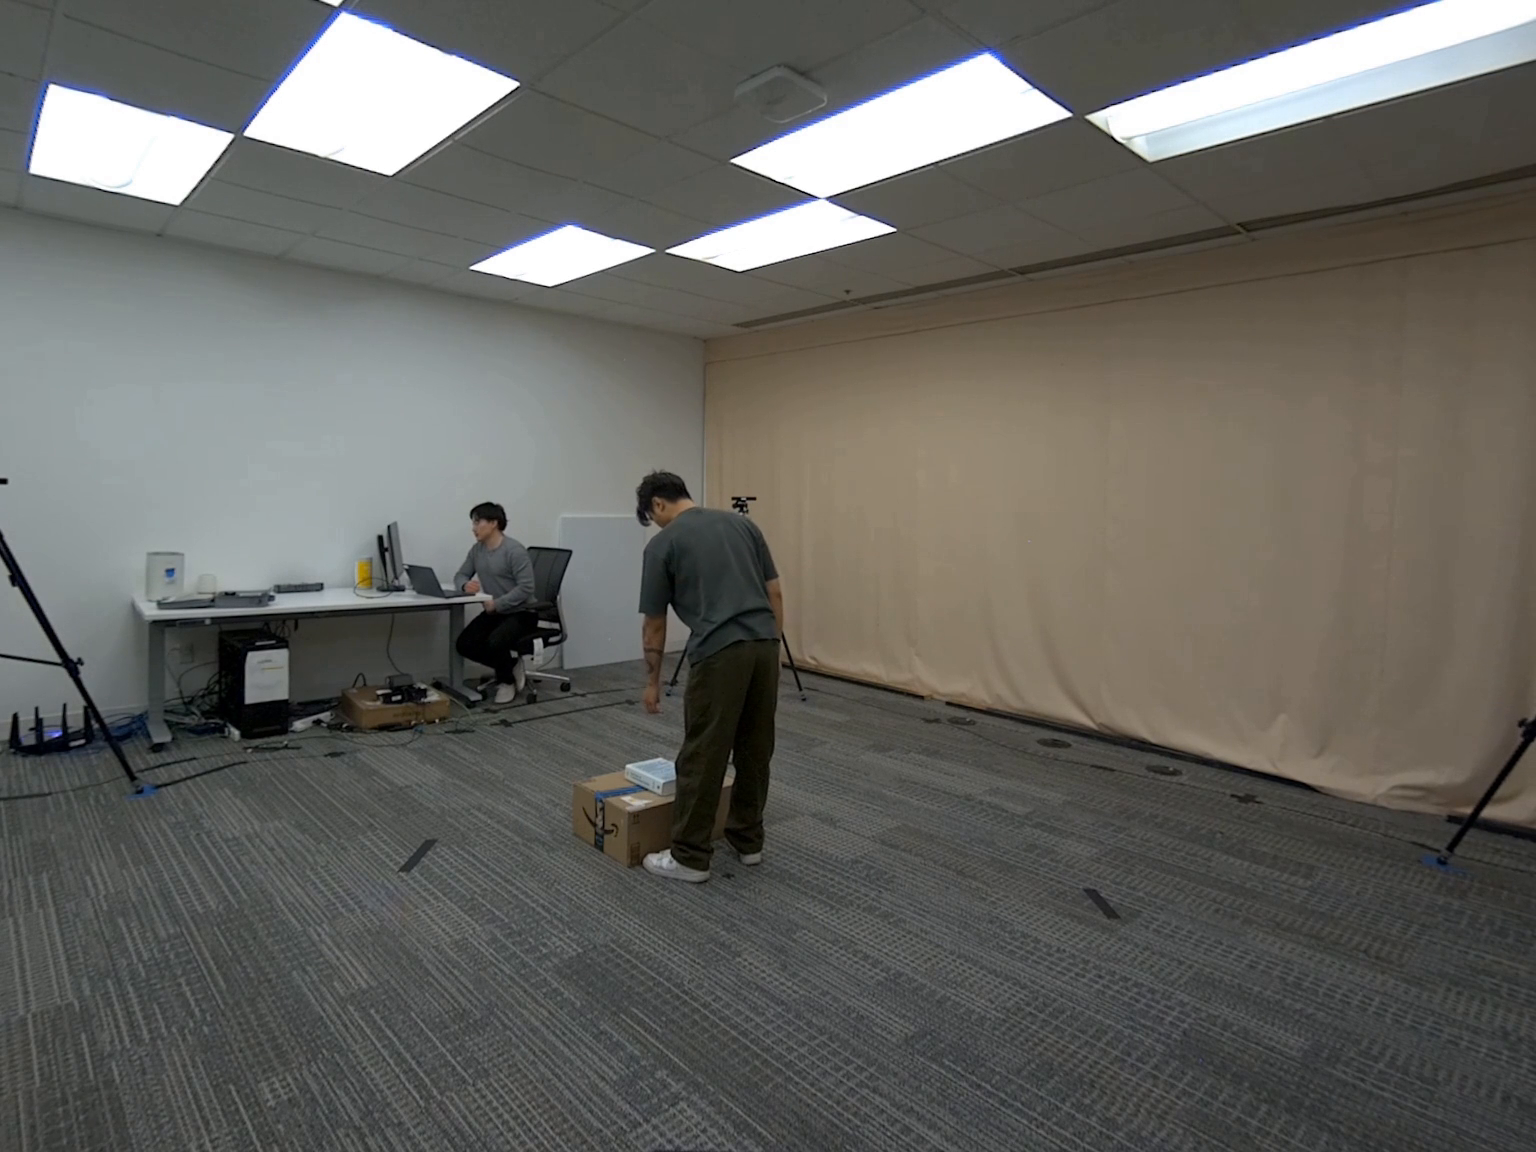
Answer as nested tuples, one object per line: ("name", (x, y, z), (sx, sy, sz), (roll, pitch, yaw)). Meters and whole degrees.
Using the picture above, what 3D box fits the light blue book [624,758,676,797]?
("light blue book", (-0.446, 0.825, 3.485), (0.187, 0.059, 0.268), (-2, 6, -43))
